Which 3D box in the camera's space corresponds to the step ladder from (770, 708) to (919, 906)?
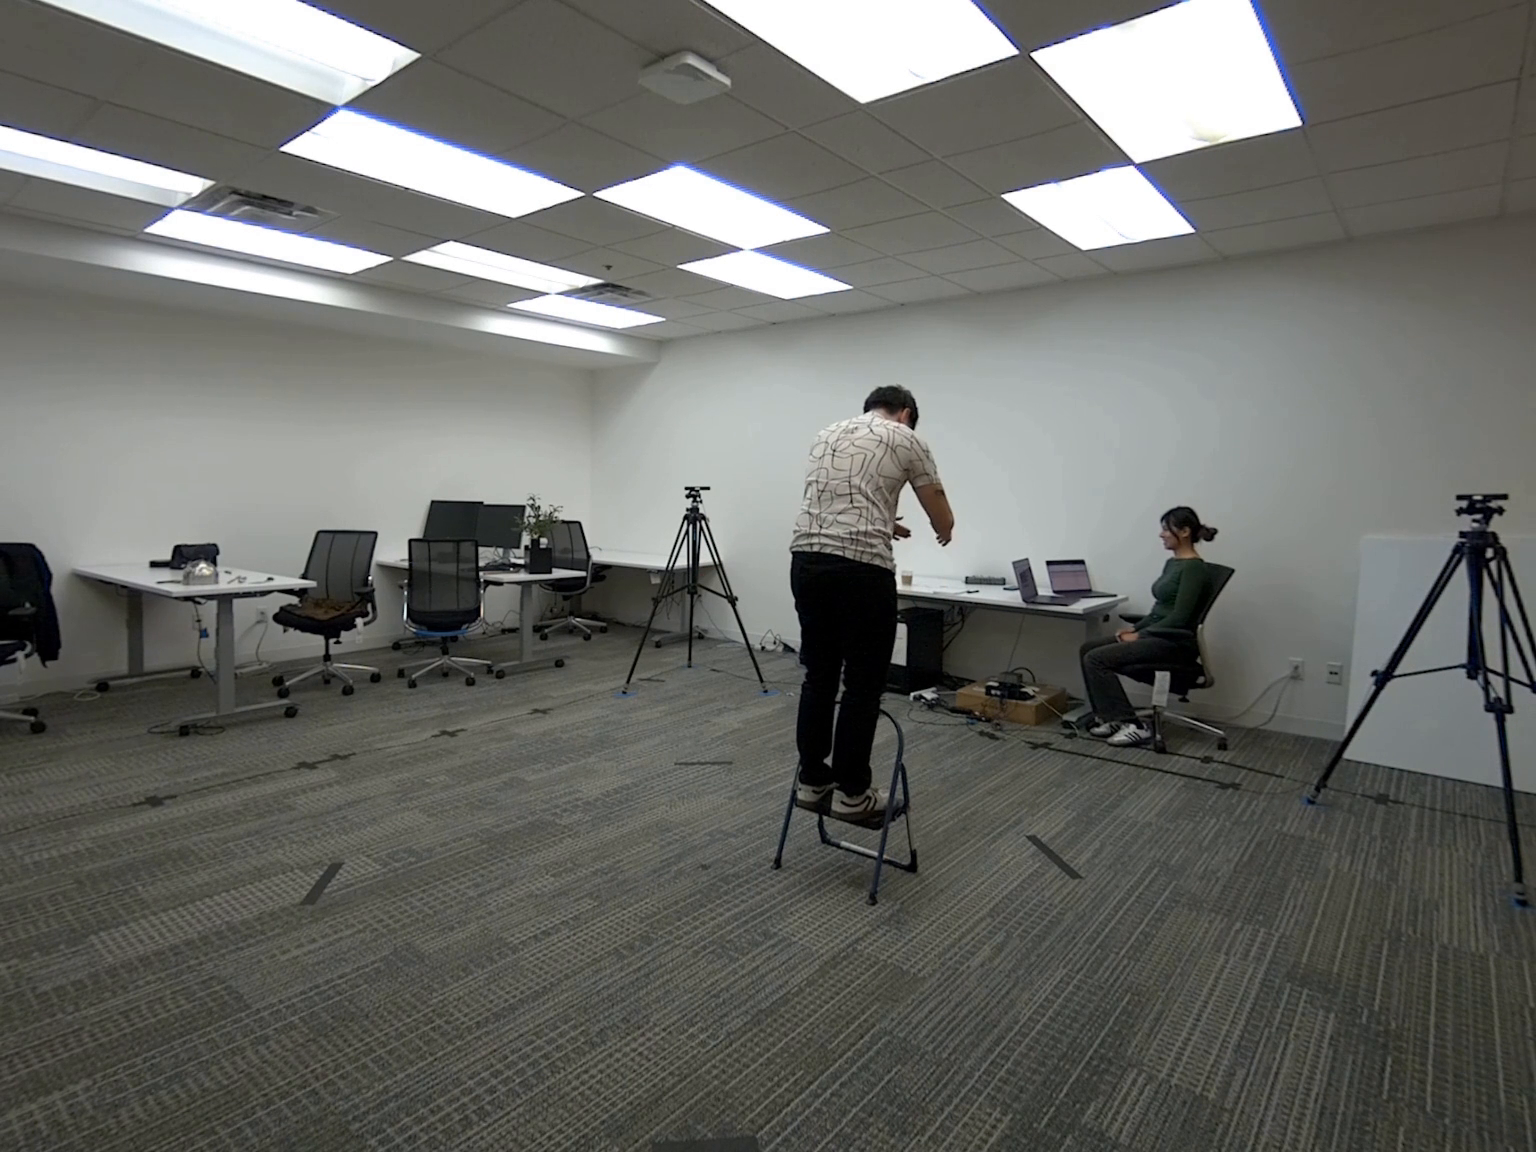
[{"bbox_3d":[0.285,0.769,3.104,0.445,0.605,0.339,4,4,37],"label":"step ladder"}]
